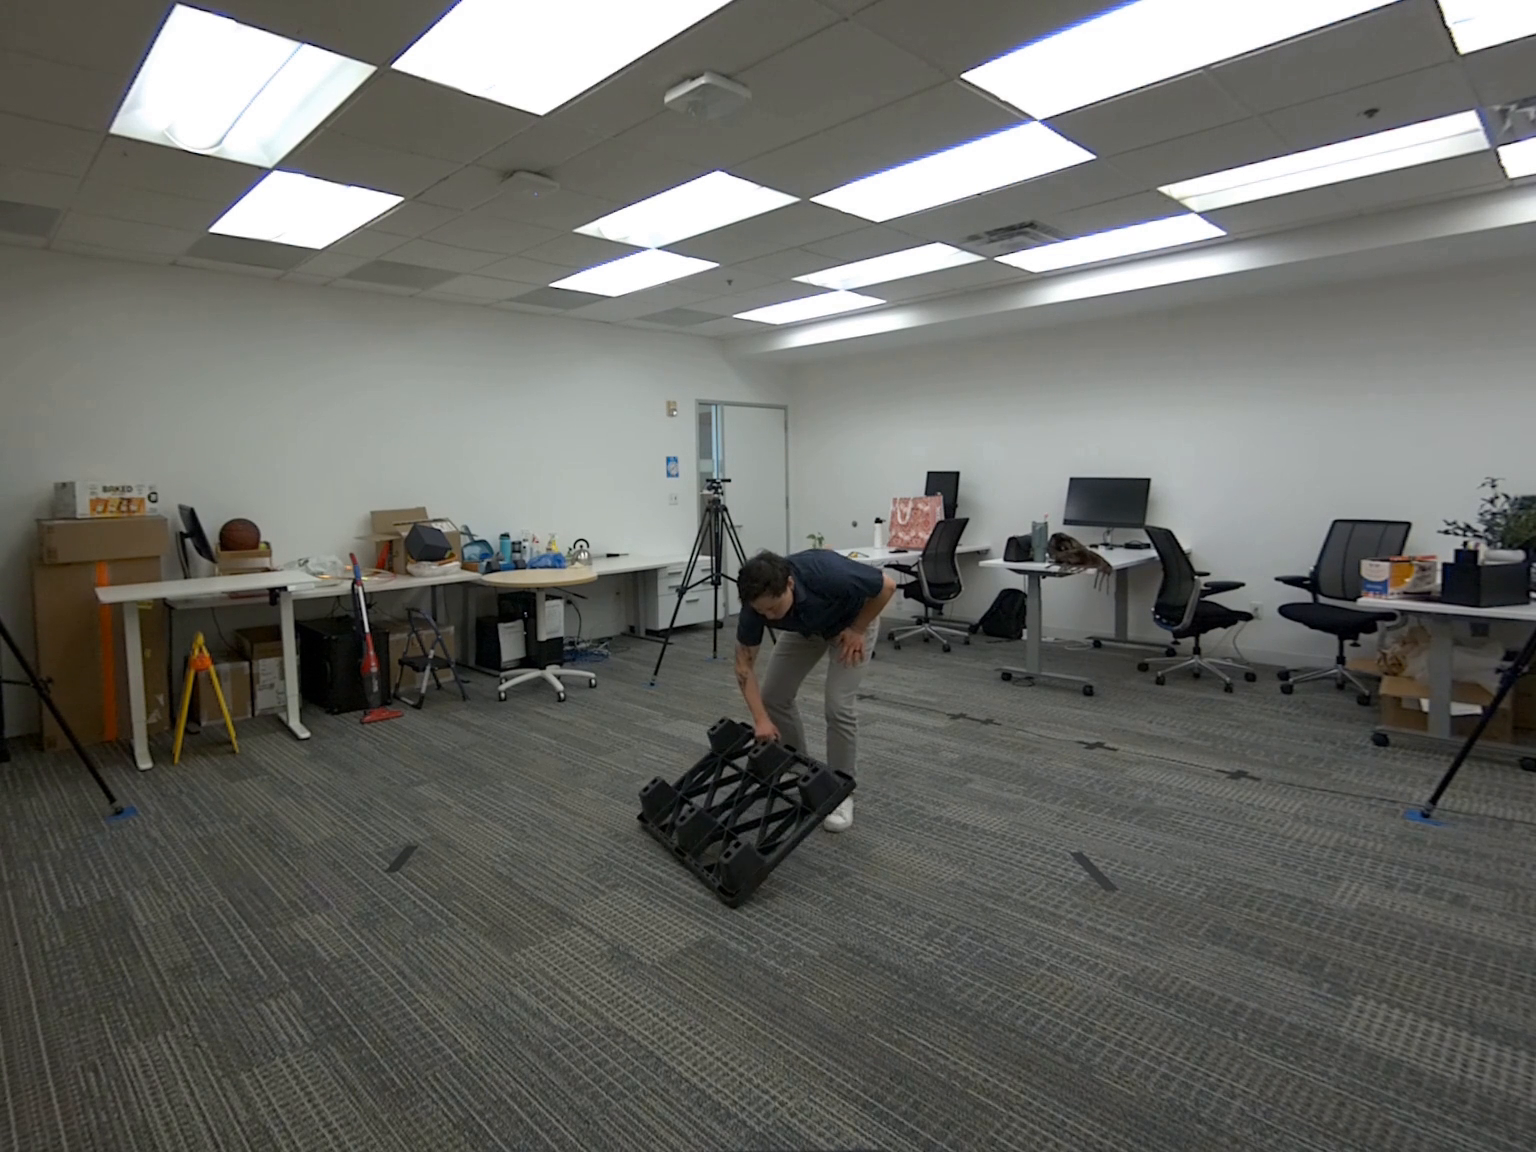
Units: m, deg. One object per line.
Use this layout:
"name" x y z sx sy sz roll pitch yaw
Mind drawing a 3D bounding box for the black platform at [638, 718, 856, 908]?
"black platform" -0.129 0.821 3.206 0.603 0.140 0.828 -40 24 -21
